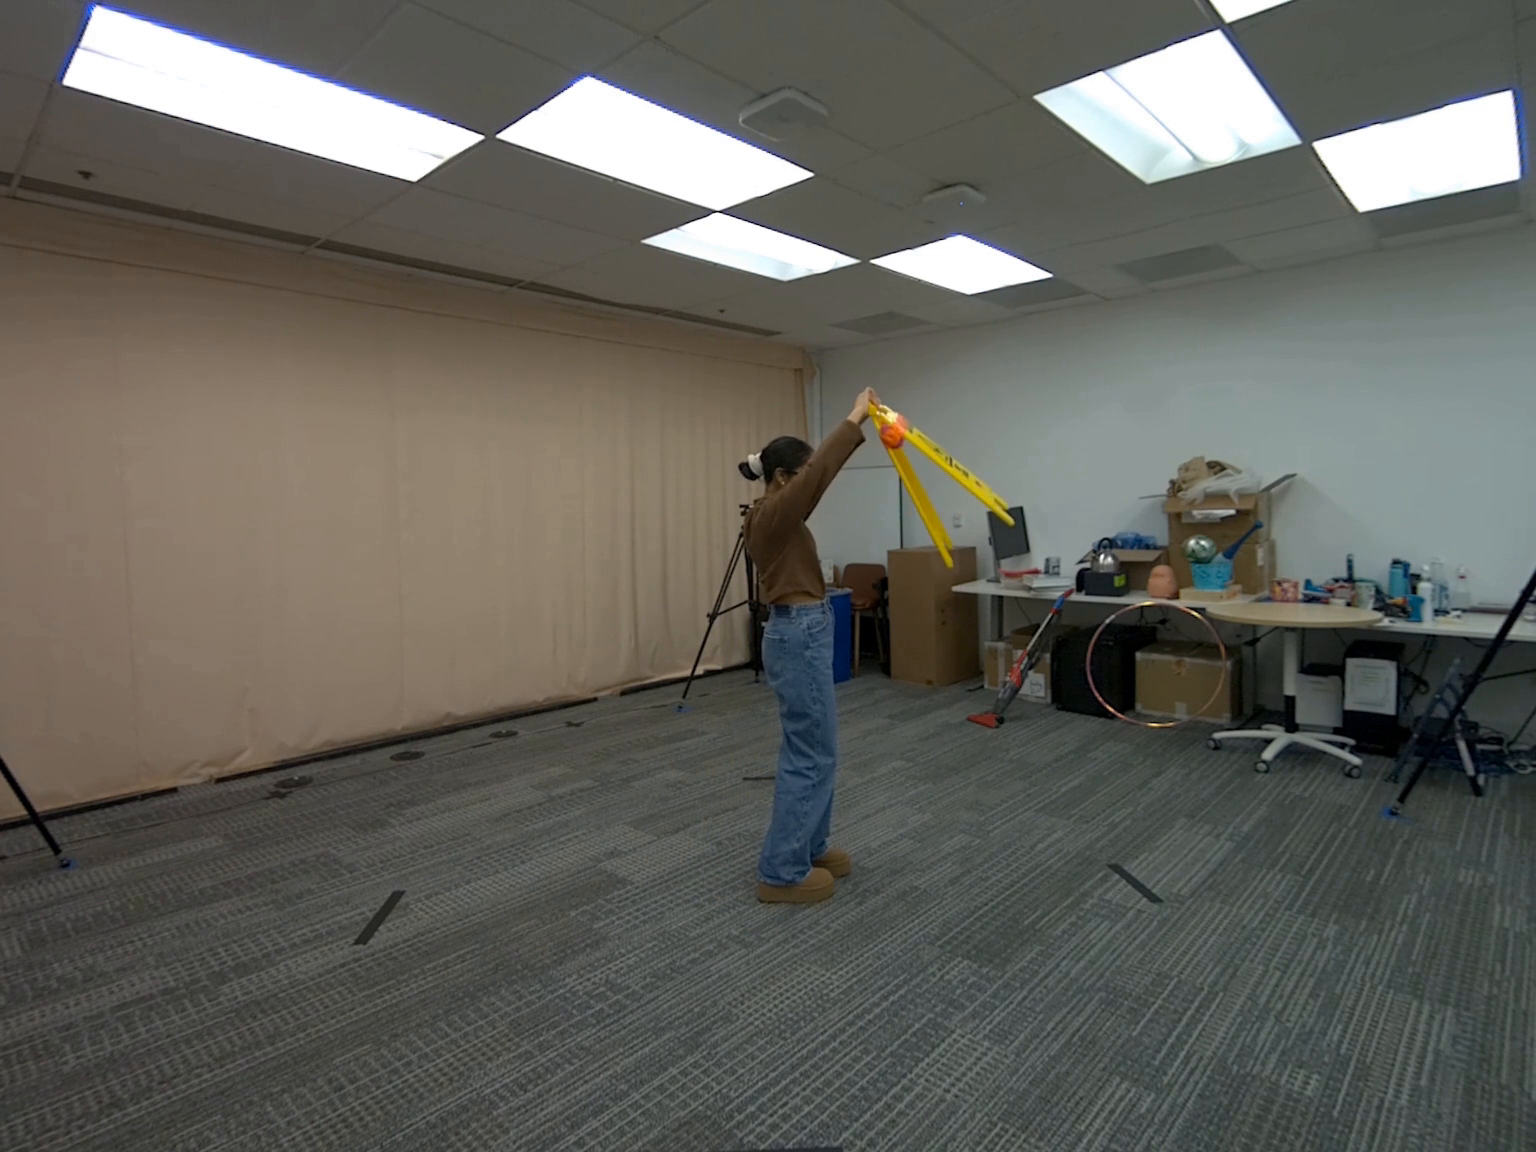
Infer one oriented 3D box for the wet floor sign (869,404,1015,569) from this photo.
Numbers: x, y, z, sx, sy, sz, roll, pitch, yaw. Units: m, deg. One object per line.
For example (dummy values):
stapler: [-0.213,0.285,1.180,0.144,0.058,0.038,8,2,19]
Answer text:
wet floor sign: [0.579,-0.390,3.052,0.292,0.641,0.282,-37,7,21]
